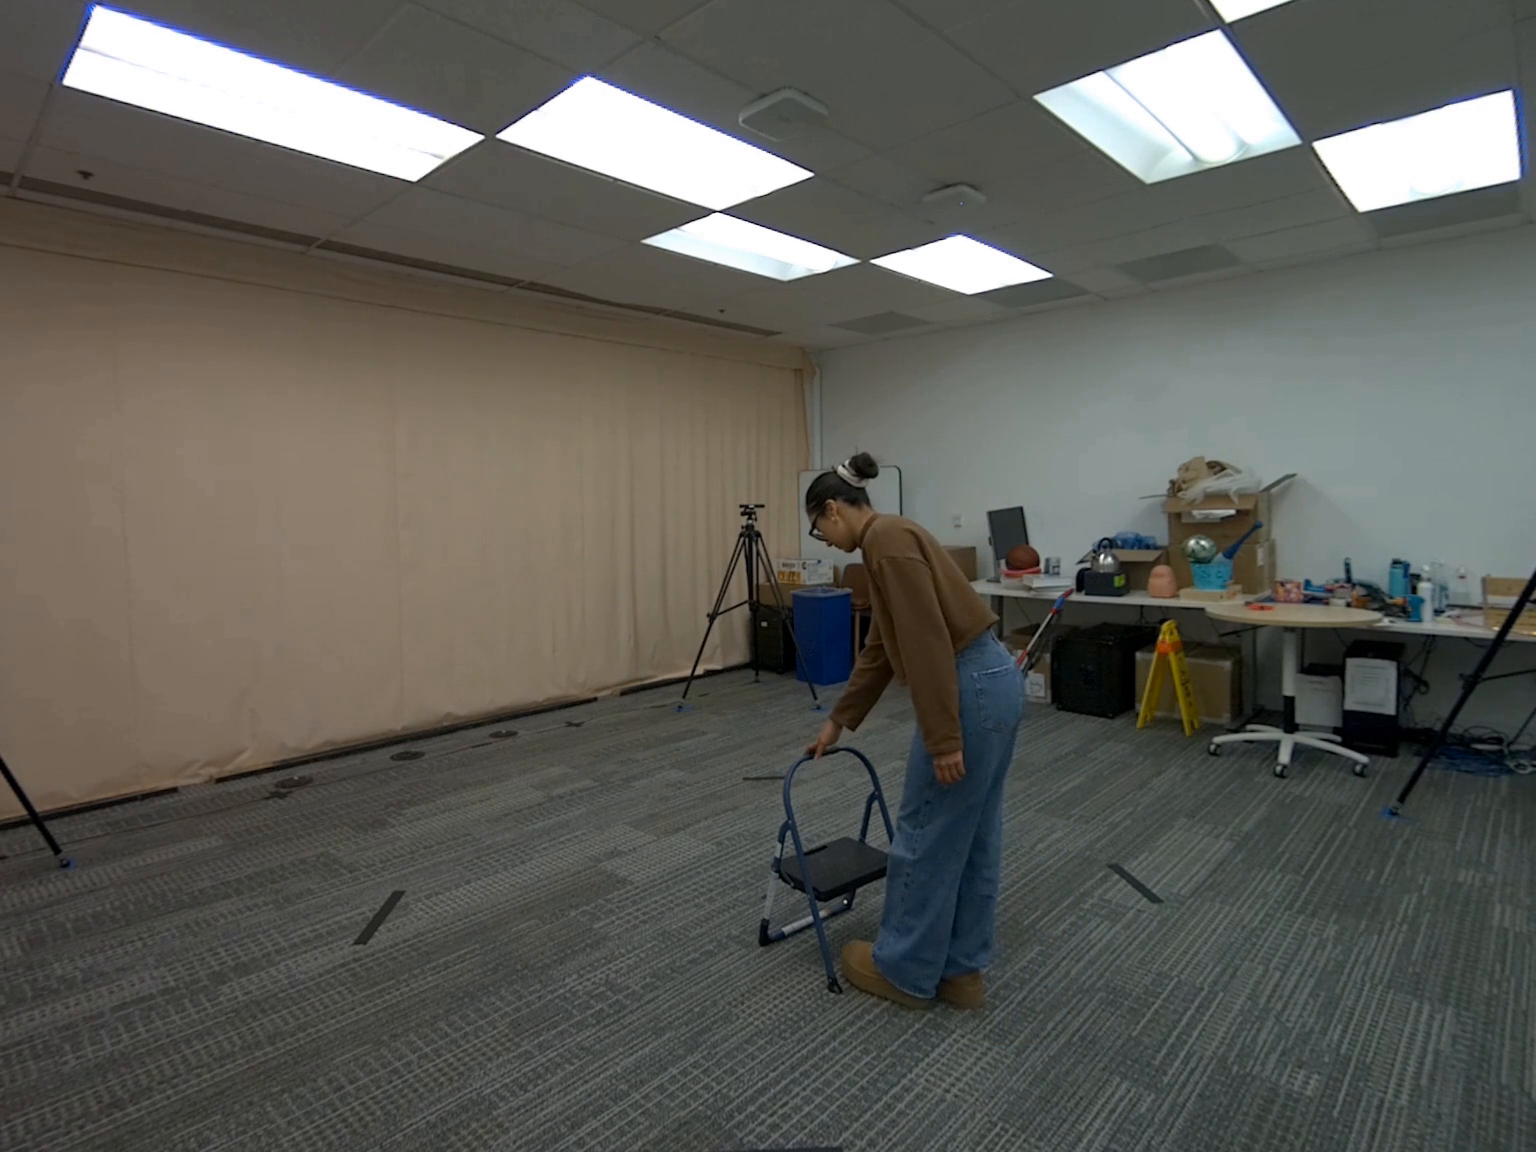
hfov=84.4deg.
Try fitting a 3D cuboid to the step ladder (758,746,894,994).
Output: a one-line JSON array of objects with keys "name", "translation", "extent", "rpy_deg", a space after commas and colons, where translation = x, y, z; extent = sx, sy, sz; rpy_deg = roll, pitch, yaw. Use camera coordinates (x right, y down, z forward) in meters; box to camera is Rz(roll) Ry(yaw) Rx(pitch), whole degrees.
[{"name": "step ladder", "translation": [0.235, 0.862, 2.638], "extent": [0.418, 0.605, 0.361], "rpy_deg": [-4, 4, -40]}]
